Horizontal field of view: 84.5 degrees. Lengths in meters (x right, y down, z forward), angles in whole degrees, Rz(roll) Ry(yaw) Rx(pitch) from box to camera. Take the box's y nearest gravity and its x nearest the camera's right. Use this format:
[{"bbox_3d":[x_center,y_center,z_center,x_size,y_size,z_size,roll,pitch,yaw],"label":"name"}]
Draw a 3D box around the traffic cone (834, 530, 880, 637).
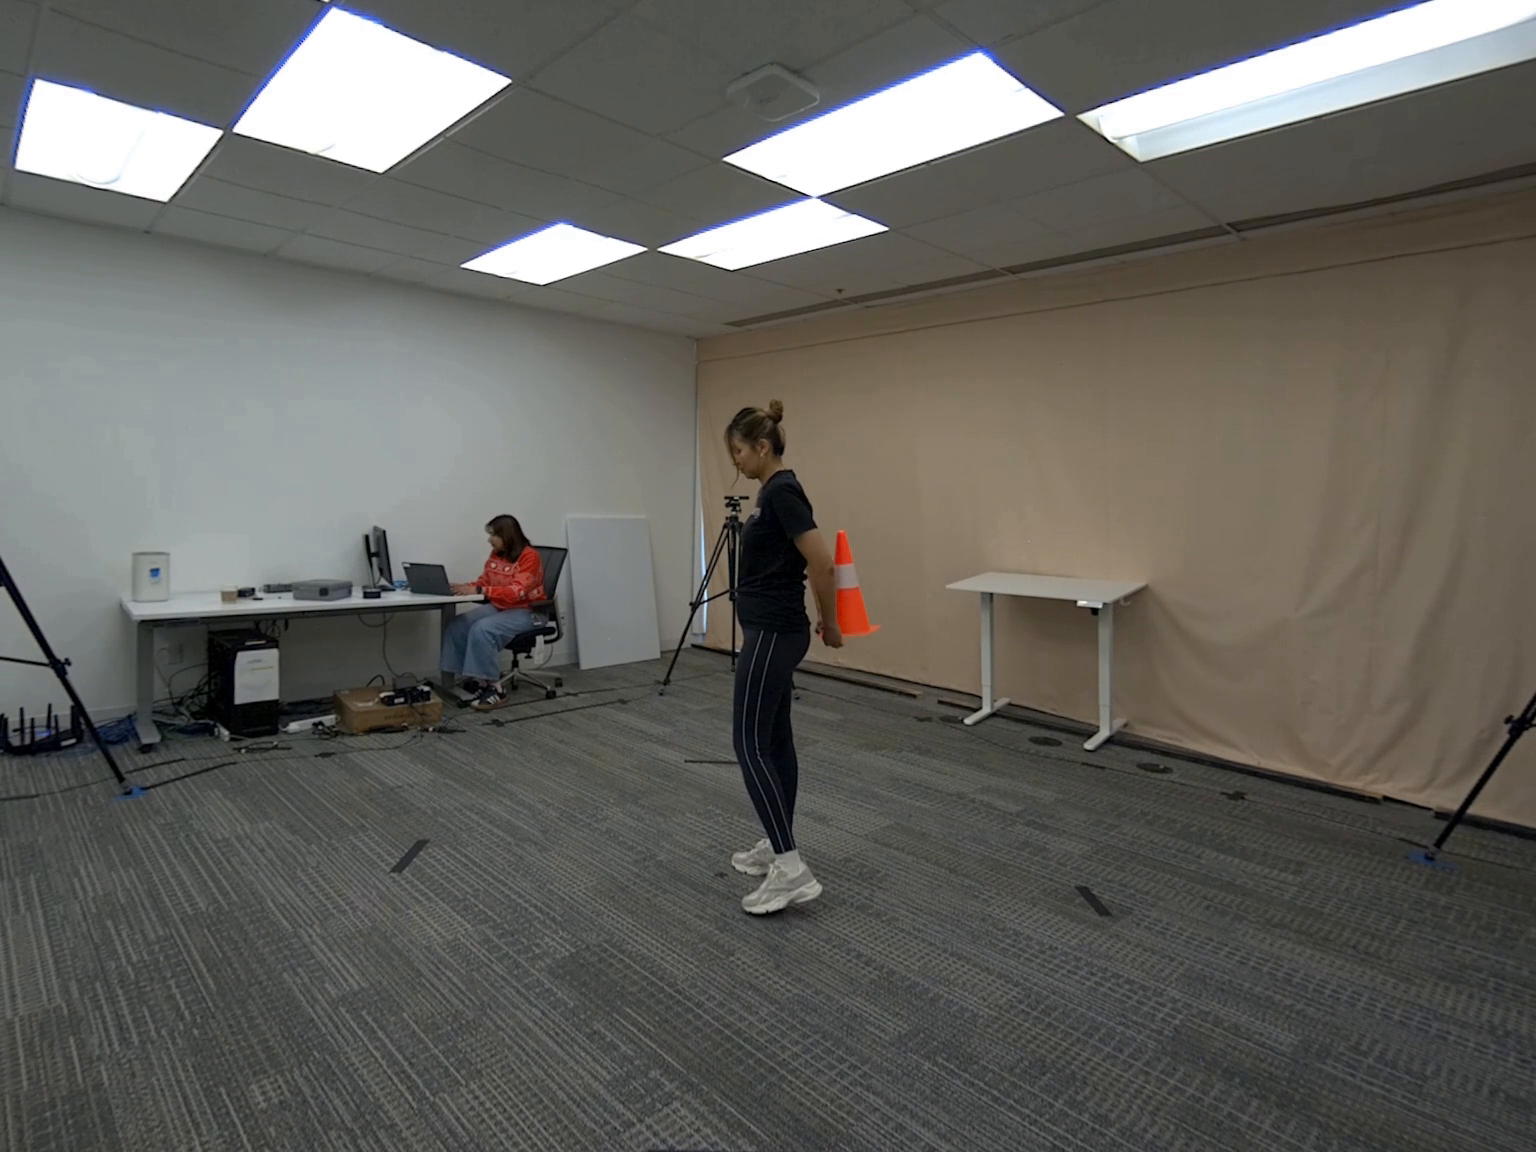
[{"bbox_3d":[0.274,0.021,3.183,0.206,0.382,0.202,-2,4,20],"label":"traffic cone"}]
